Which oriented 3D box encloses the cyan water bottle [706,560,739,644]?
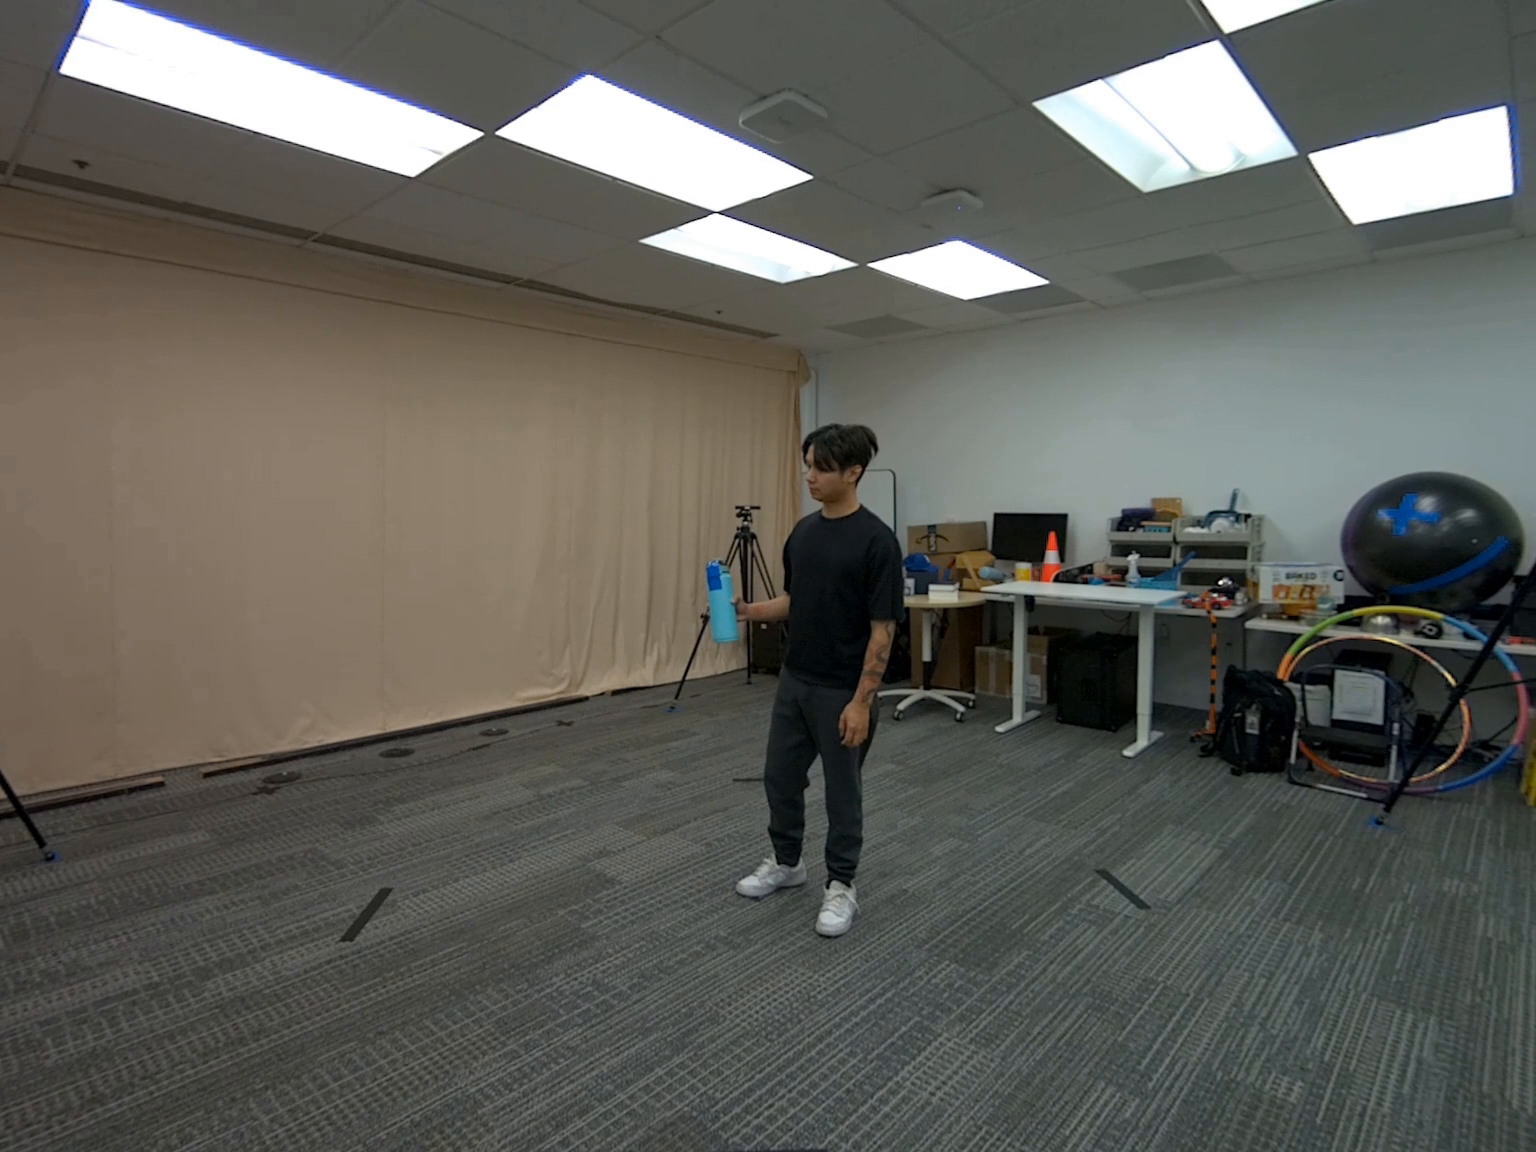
[{"bbox_3d":[-0.154,0.082,2.866,0.092,0.284,0.092,-8,-5,-2],"label":"cyan water bottle"}]
